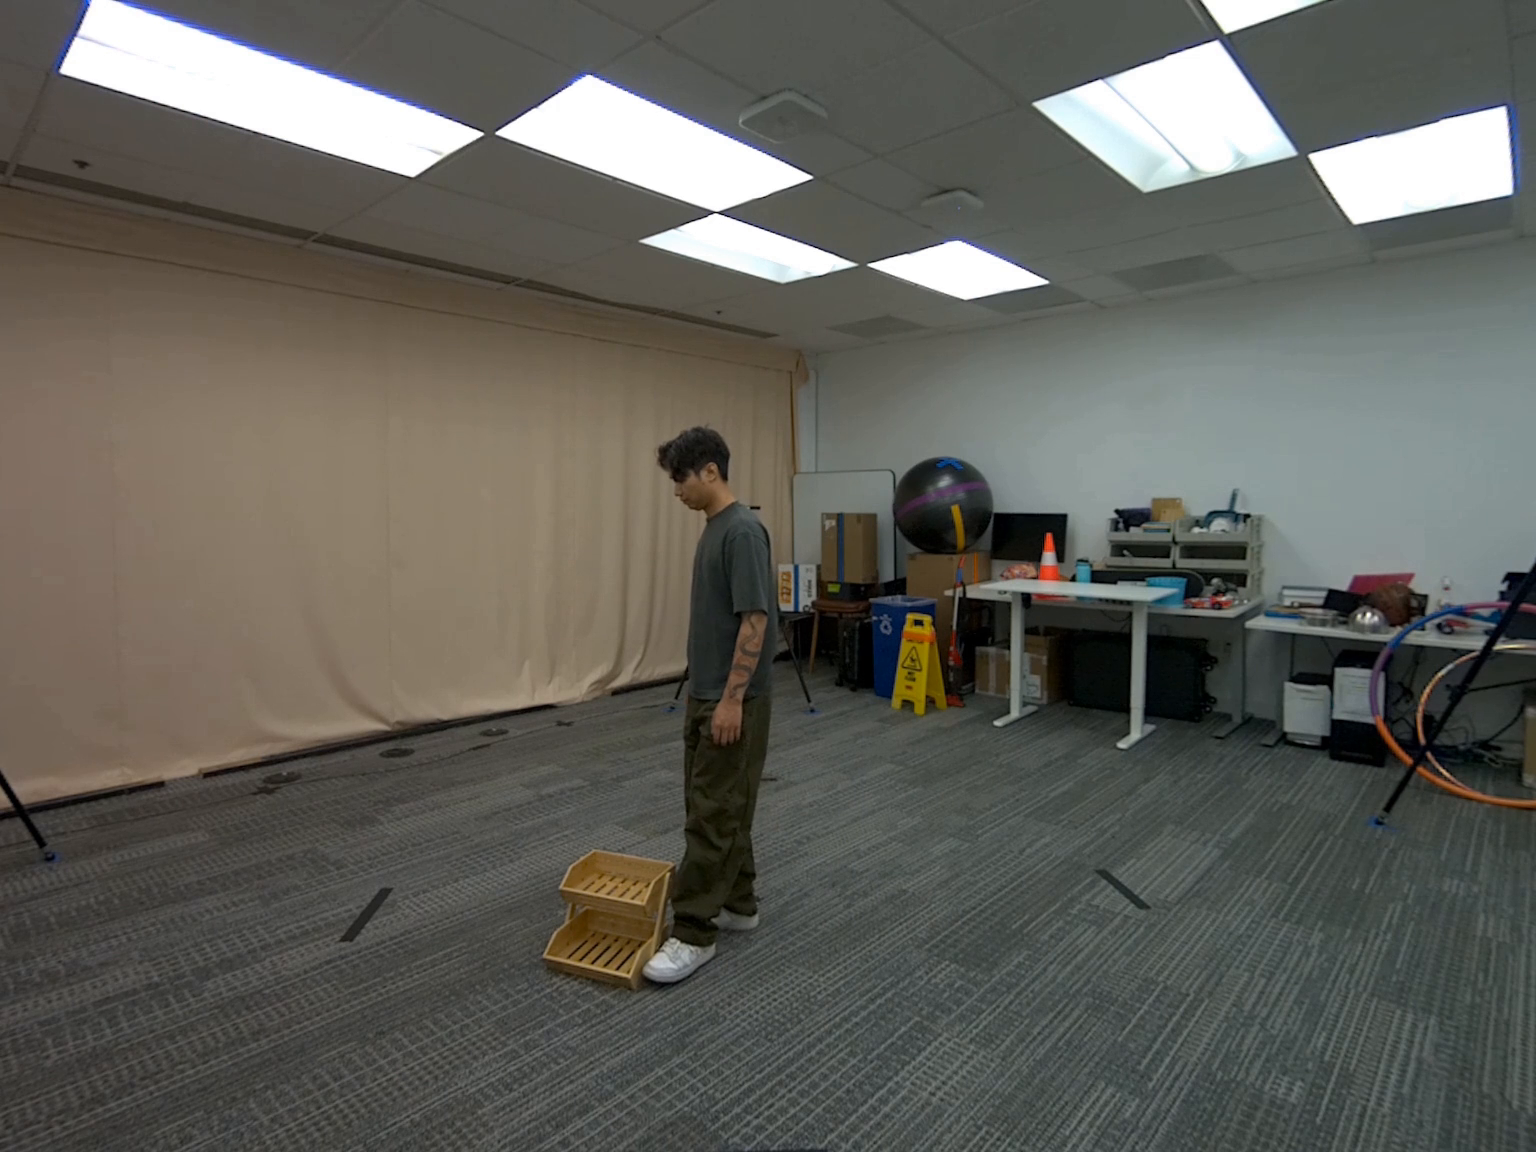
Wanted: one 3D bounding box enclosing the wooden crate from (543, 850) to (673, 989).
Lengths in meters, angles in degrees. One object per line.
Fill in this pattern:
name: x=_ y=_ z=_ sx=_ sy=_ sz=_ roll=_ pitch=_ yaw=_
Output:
wooden crate: x=-0.476 y=1.053 z=2.583 sx=0.331 sy=0.273 sz=0.296 roll=1 pitch=2 yaw=18
